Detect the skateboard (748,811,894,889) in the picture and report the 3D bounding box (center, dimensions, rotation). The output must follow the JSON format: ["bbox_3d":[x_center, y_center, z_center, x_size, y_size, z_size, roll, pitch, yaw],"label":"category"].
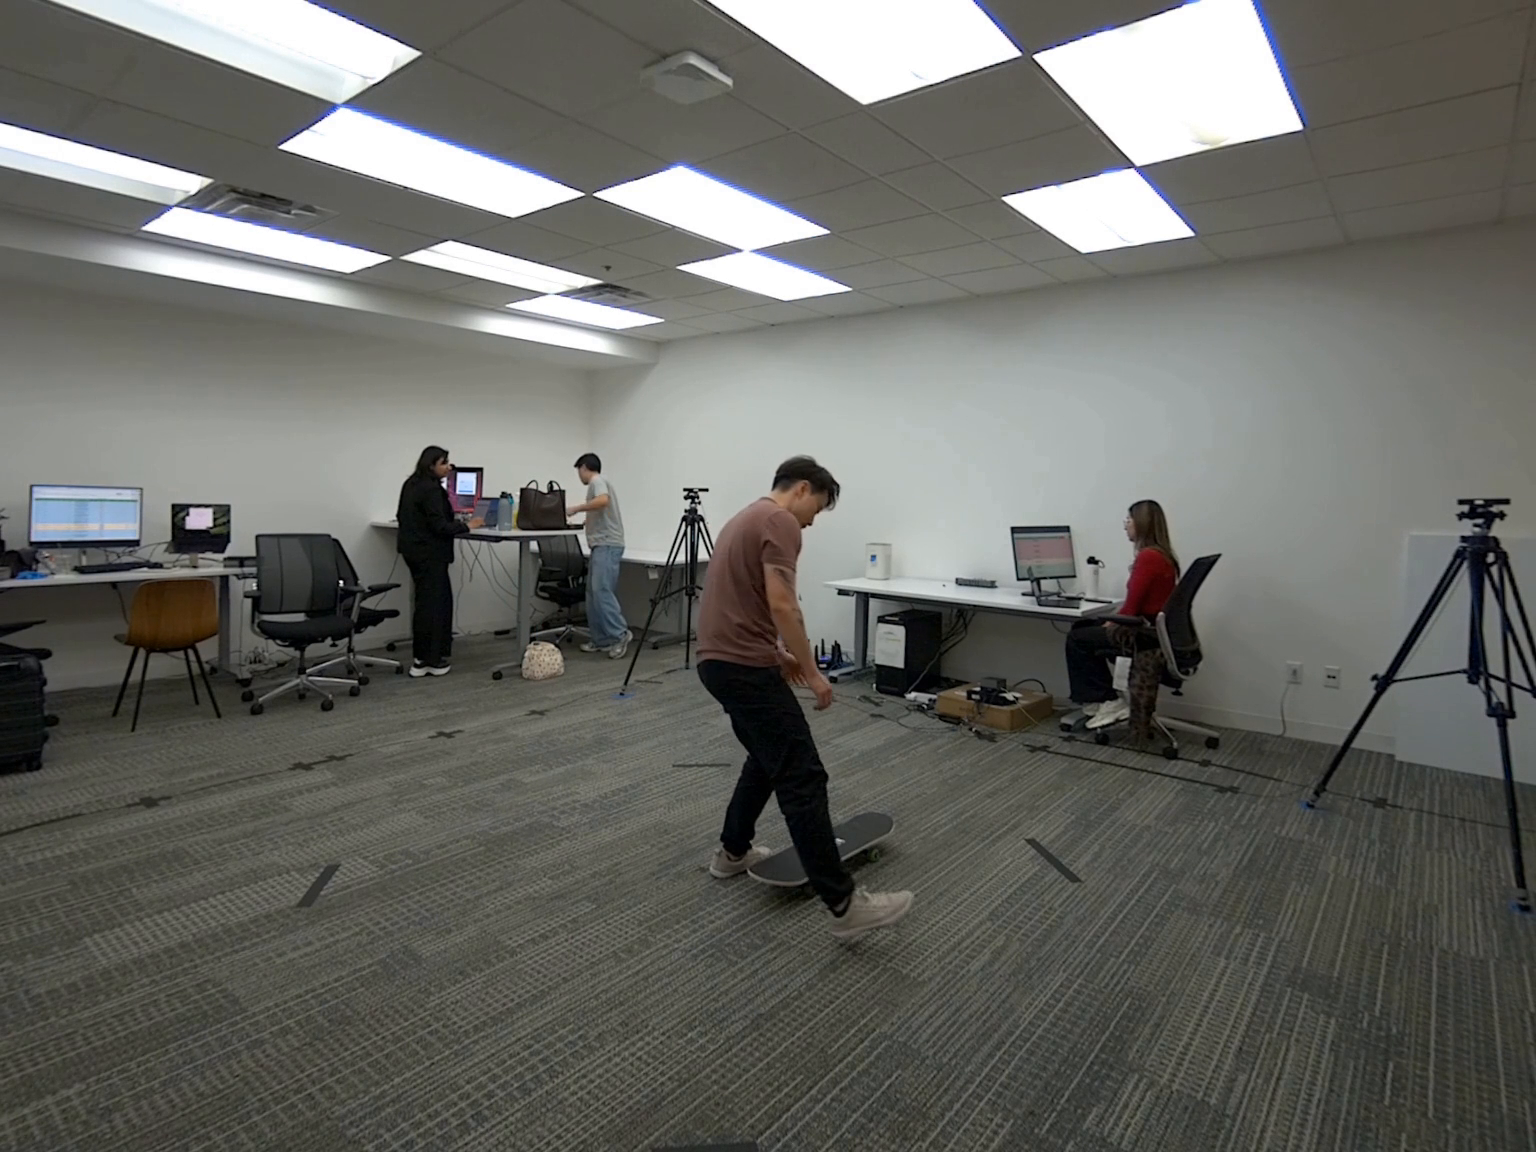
[{"bbox_3d":[0.207,1.026,3.112,0.200,0.110,0.762,5,7,40],"label":"skateboard"}]
